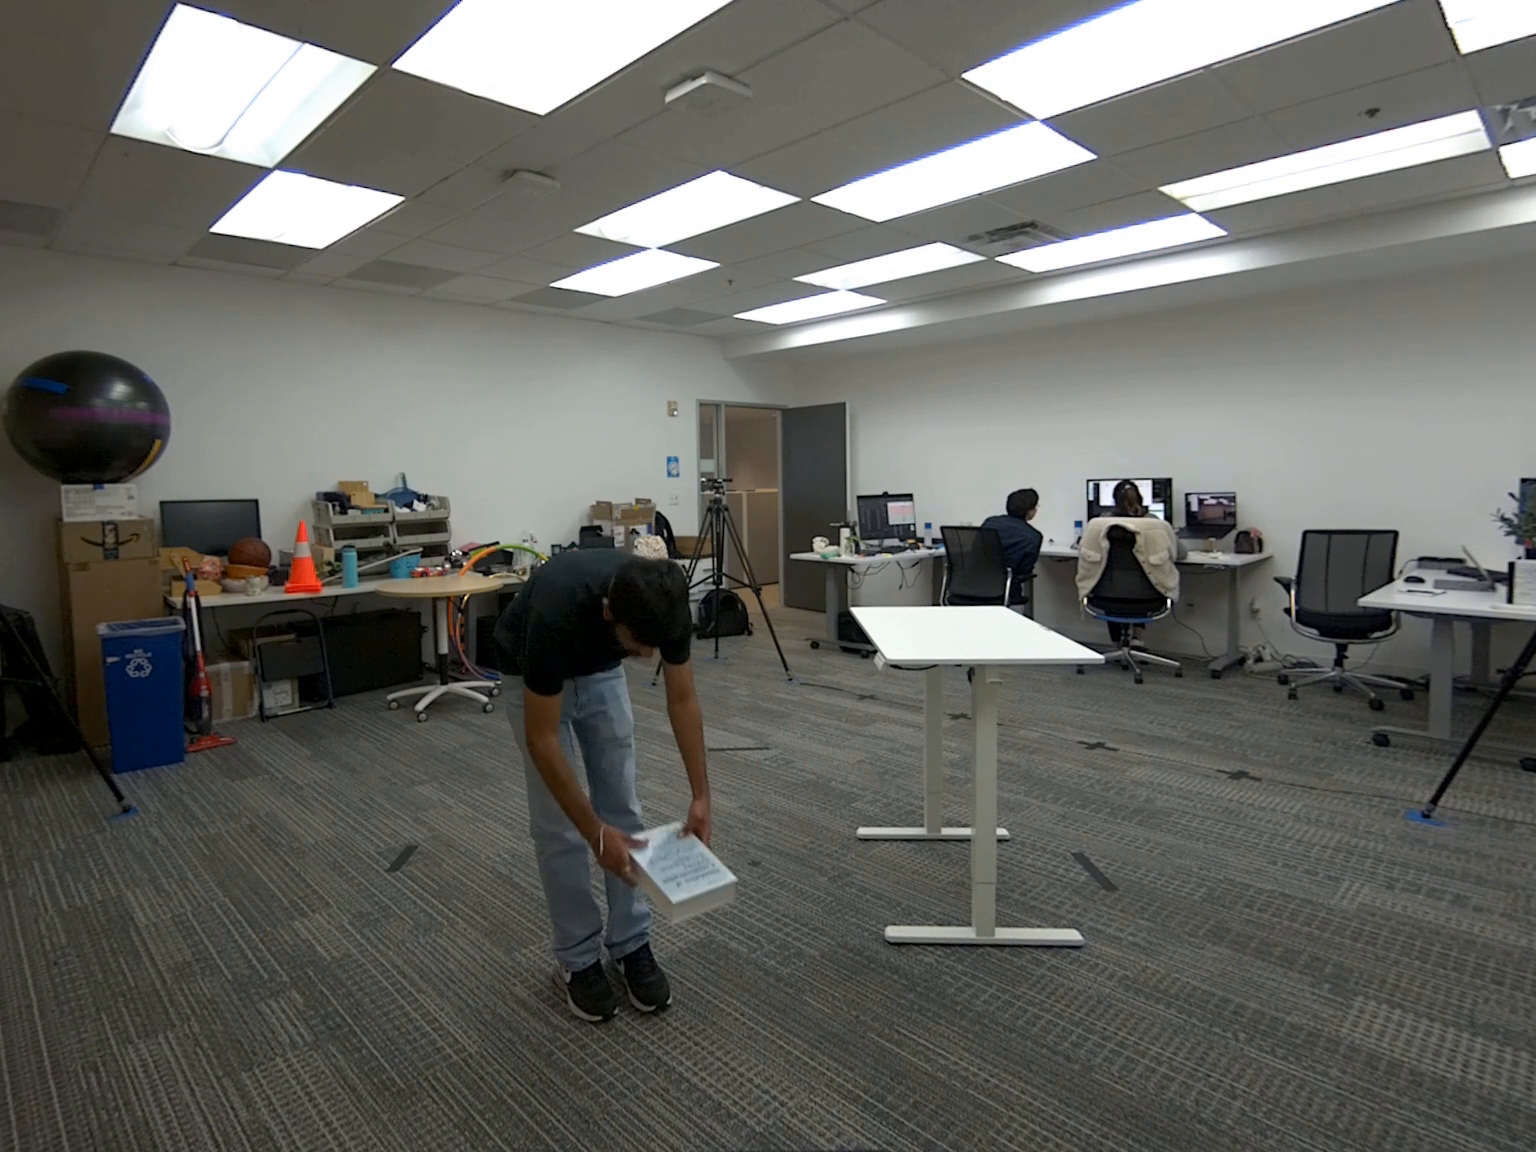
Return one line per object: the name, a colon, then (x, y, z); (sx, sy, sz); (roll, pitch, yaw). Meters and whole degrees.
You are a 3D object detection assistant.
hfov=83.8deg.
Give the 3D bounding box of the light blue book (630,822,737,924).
light blue book: (-0.223, 0.708, 2.090); (0.186, 0.058, 0.271); (-7, 19, -38)
